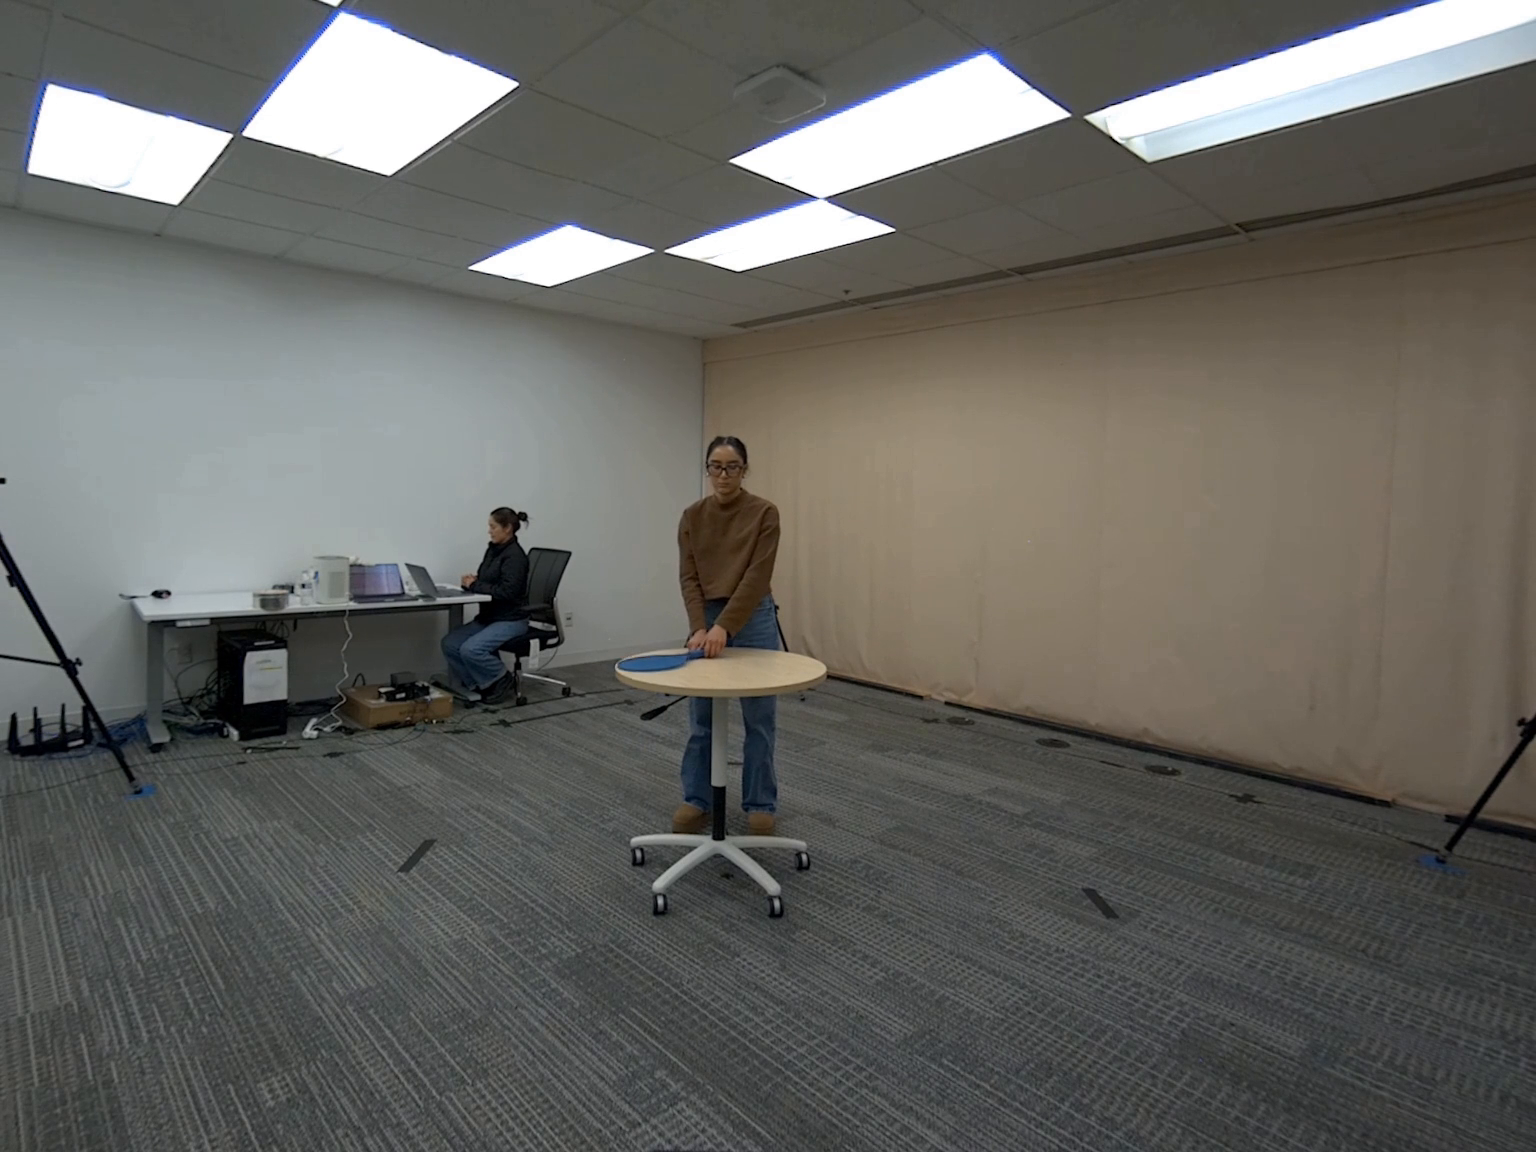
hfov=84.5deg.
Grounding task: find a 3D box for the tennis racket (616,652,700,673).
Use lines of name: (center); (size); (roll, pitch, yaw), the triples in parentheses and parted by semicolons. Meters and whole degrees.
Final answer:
tennis racket: (-0.376, 0.312, 3.109); (0.423, 0.031, 0.219); (-6, 9, -42)
